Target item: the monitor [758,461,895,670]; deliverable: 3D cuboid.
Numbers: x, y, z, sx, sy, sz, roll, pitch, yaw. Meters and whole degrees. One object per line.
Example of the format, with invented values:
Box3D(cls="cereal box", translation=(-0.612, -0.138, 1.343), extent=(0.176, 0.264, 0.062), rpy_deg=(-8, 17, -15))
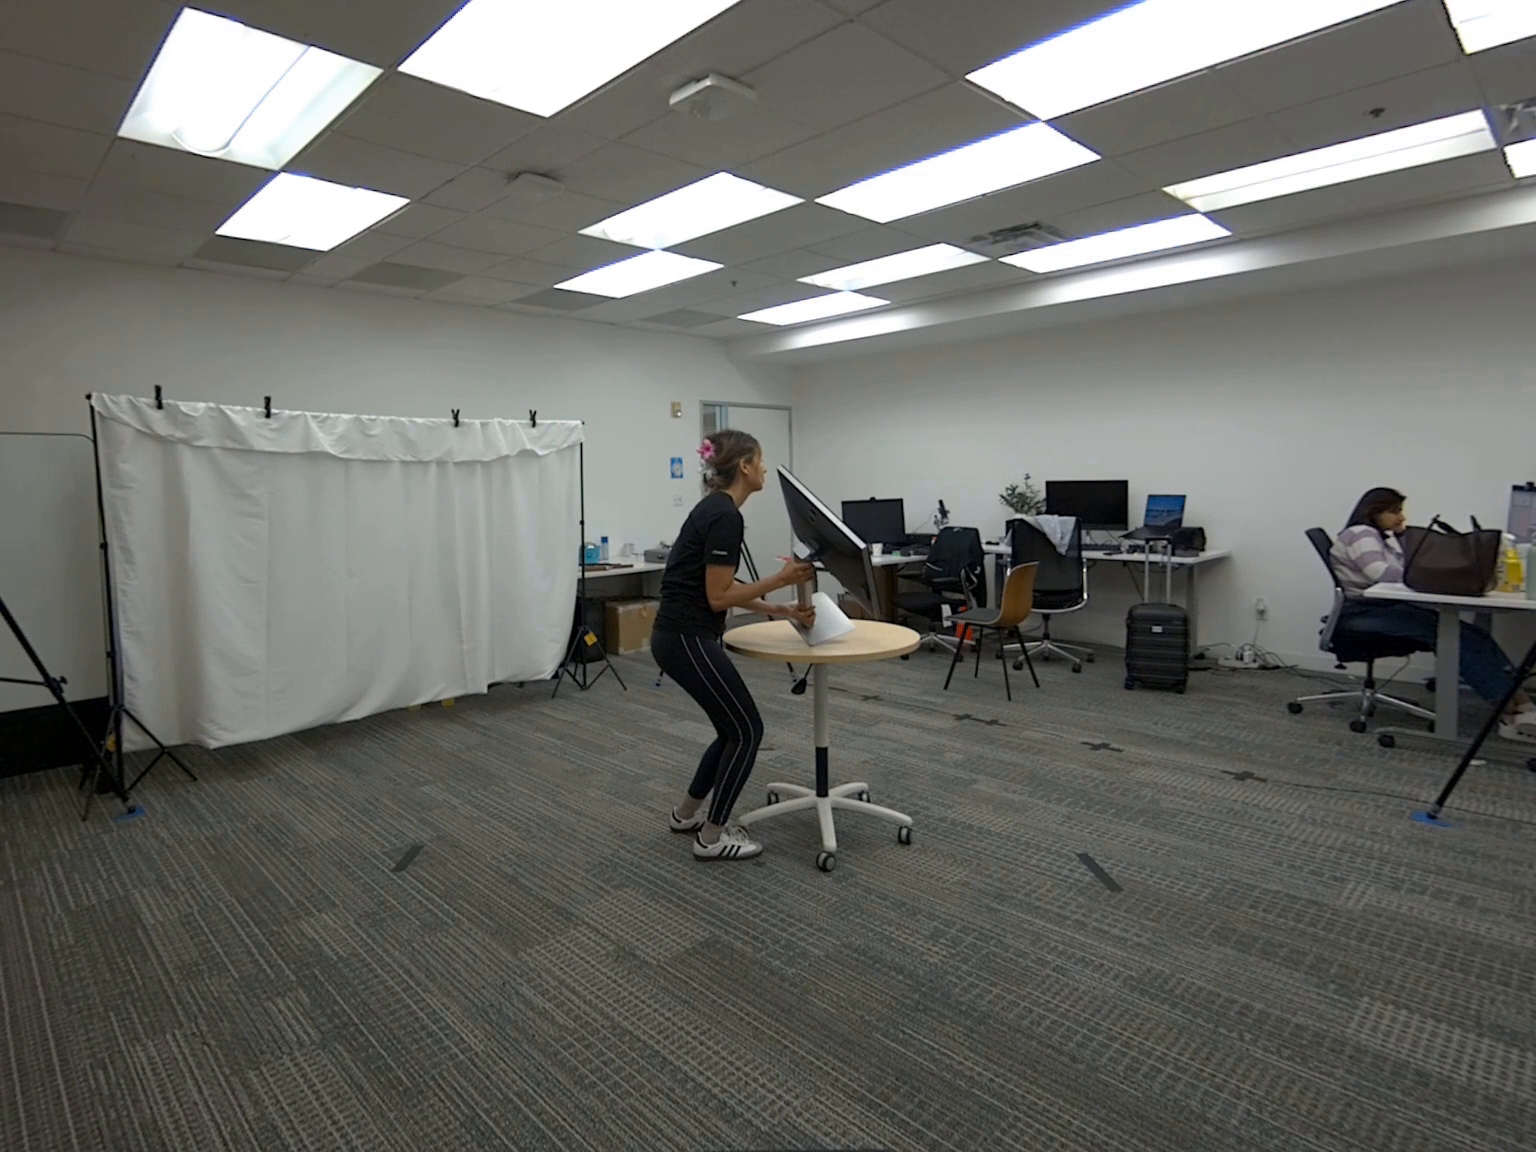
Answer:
Box3D(cls="monitor", translation=(0.189, -0.049, 3.098), extent=(0.185, 0.508, 0.561), rpy_deg=(-20, 41, -24))
